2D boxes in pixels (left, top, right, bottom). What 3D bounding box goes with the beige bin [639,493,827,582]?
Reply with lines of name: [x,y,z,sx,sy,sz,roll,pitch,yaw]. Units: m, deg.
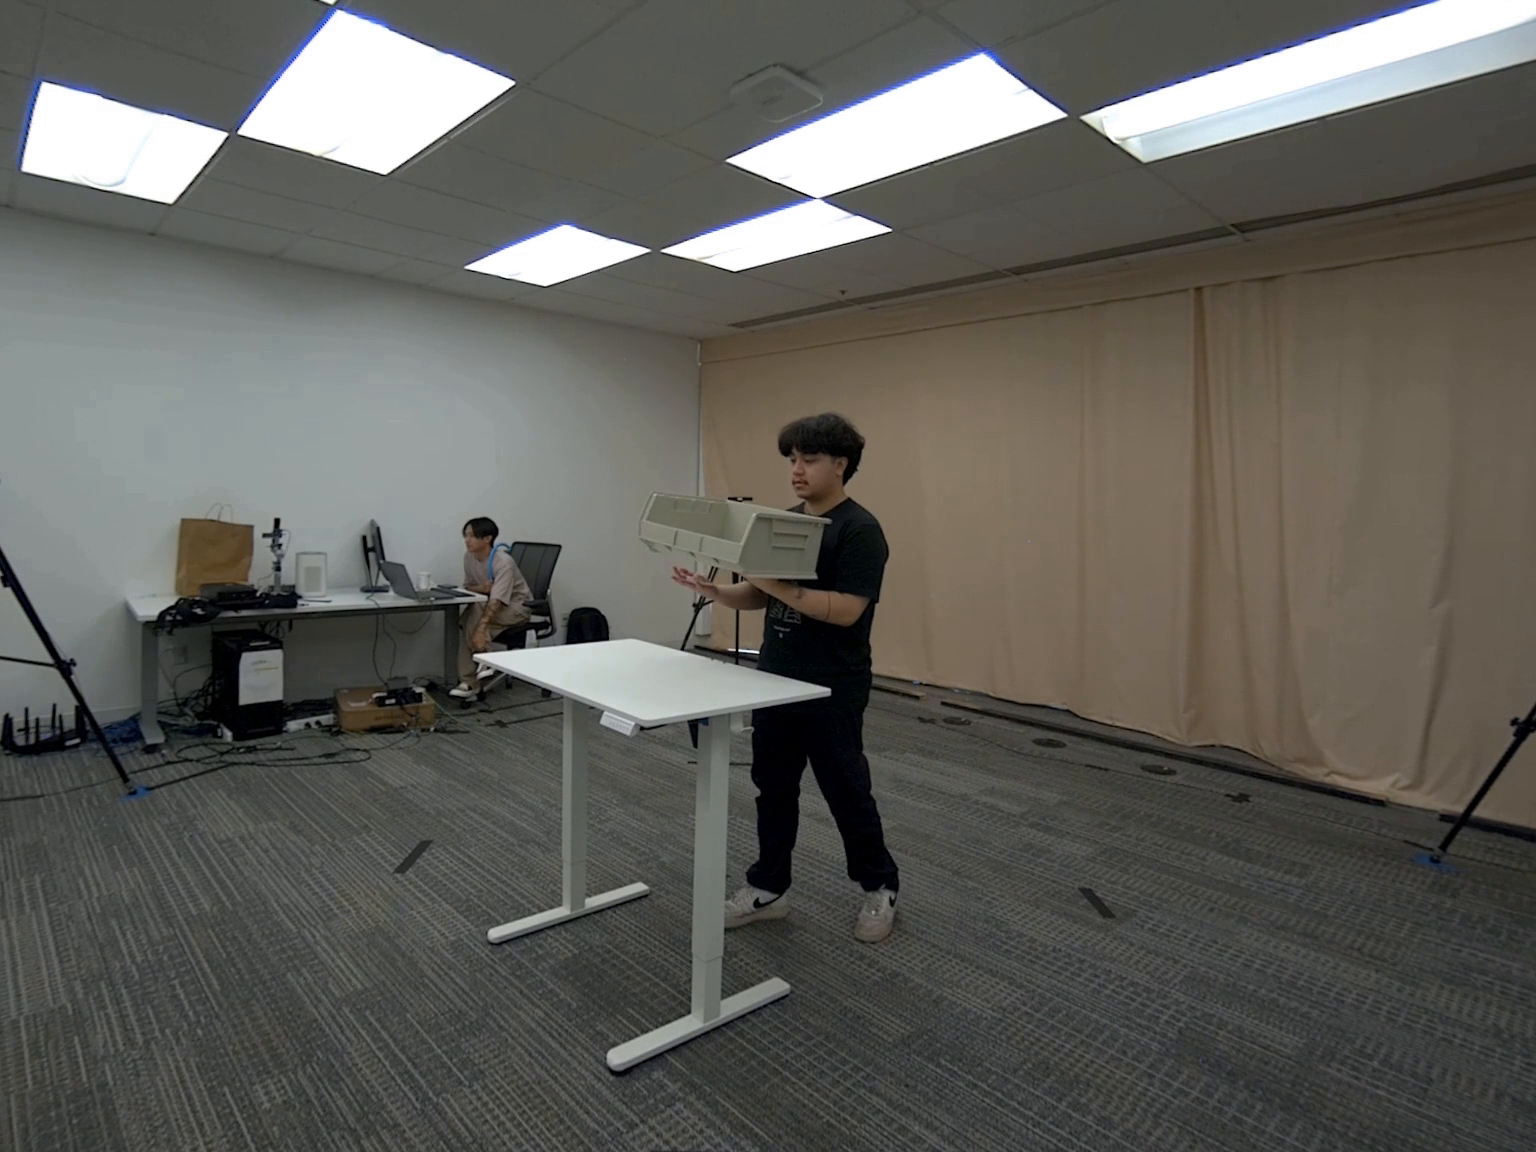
beige bin: [-0.108,-0.114,2.475,0.434,0.188,0.368,13,7,39]
